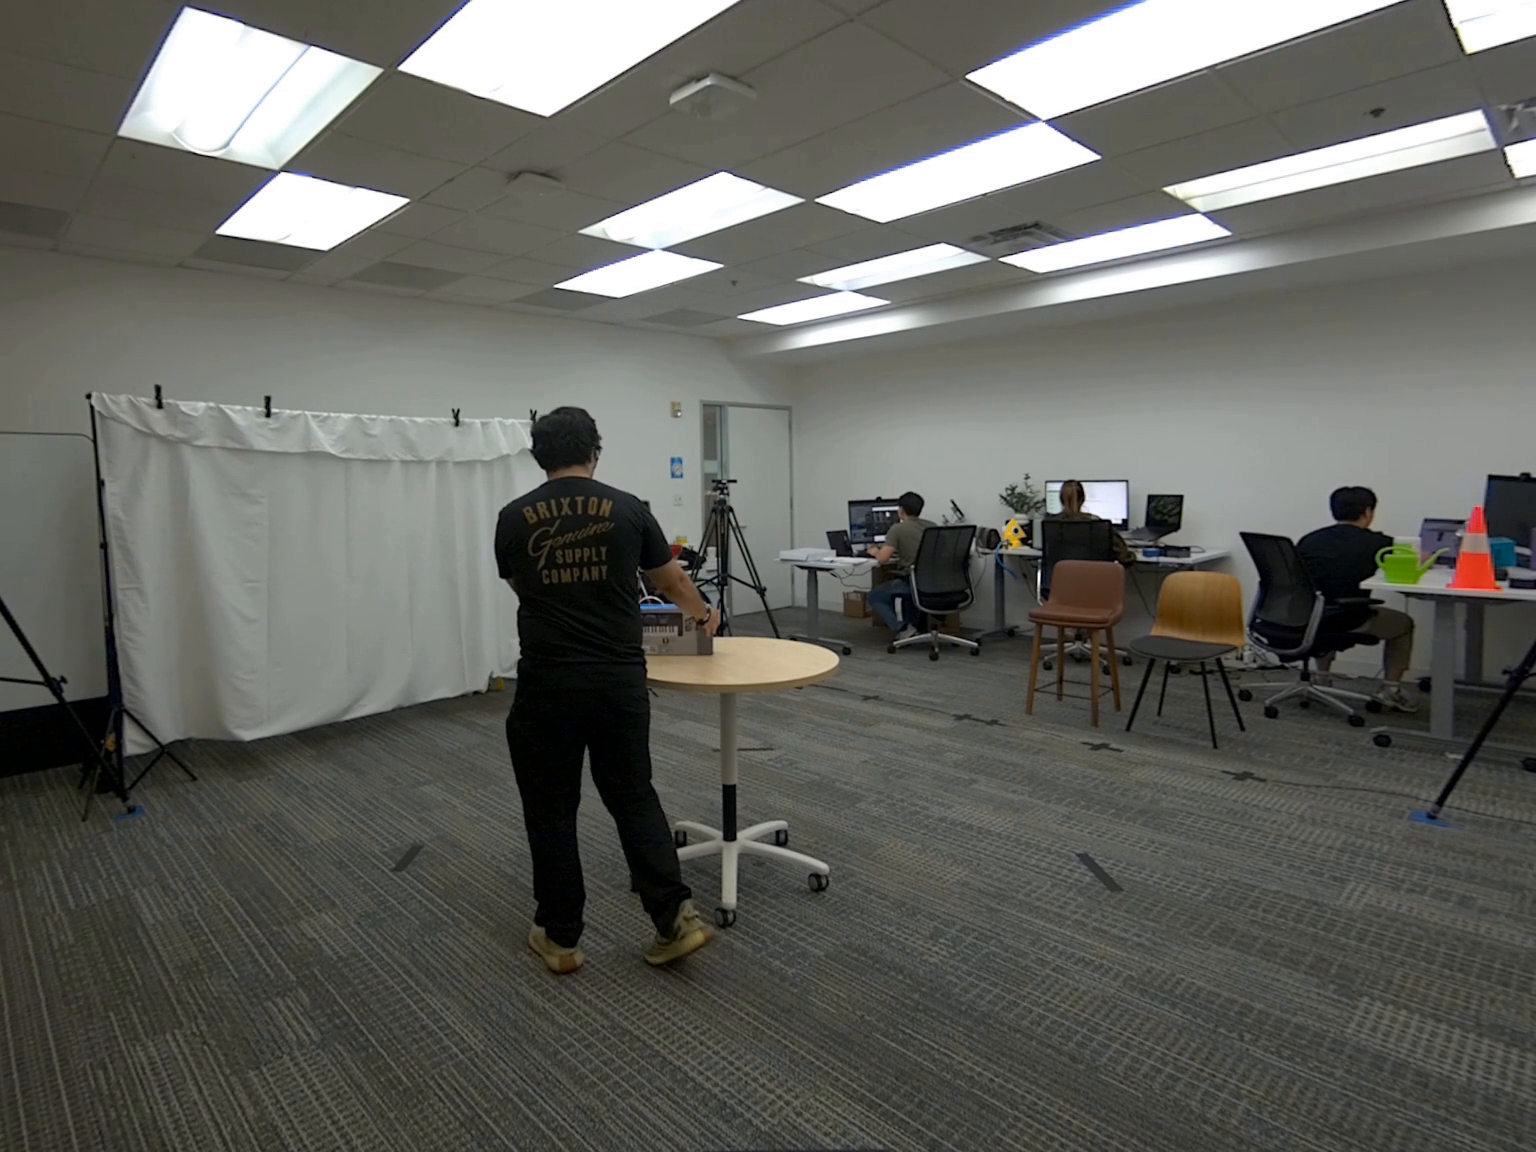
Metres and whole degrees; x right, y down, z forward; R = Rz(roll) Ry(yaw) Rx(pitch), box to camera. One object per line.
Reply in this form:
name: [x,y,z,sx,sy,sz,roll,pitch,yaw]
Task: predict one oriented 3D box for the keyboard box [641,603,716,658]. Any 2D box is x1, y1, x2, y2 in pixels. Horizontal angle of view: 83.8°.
keyboard box: [-0.406,0.187,3.011,0.436,0.174,0.060,1,9,-1]
